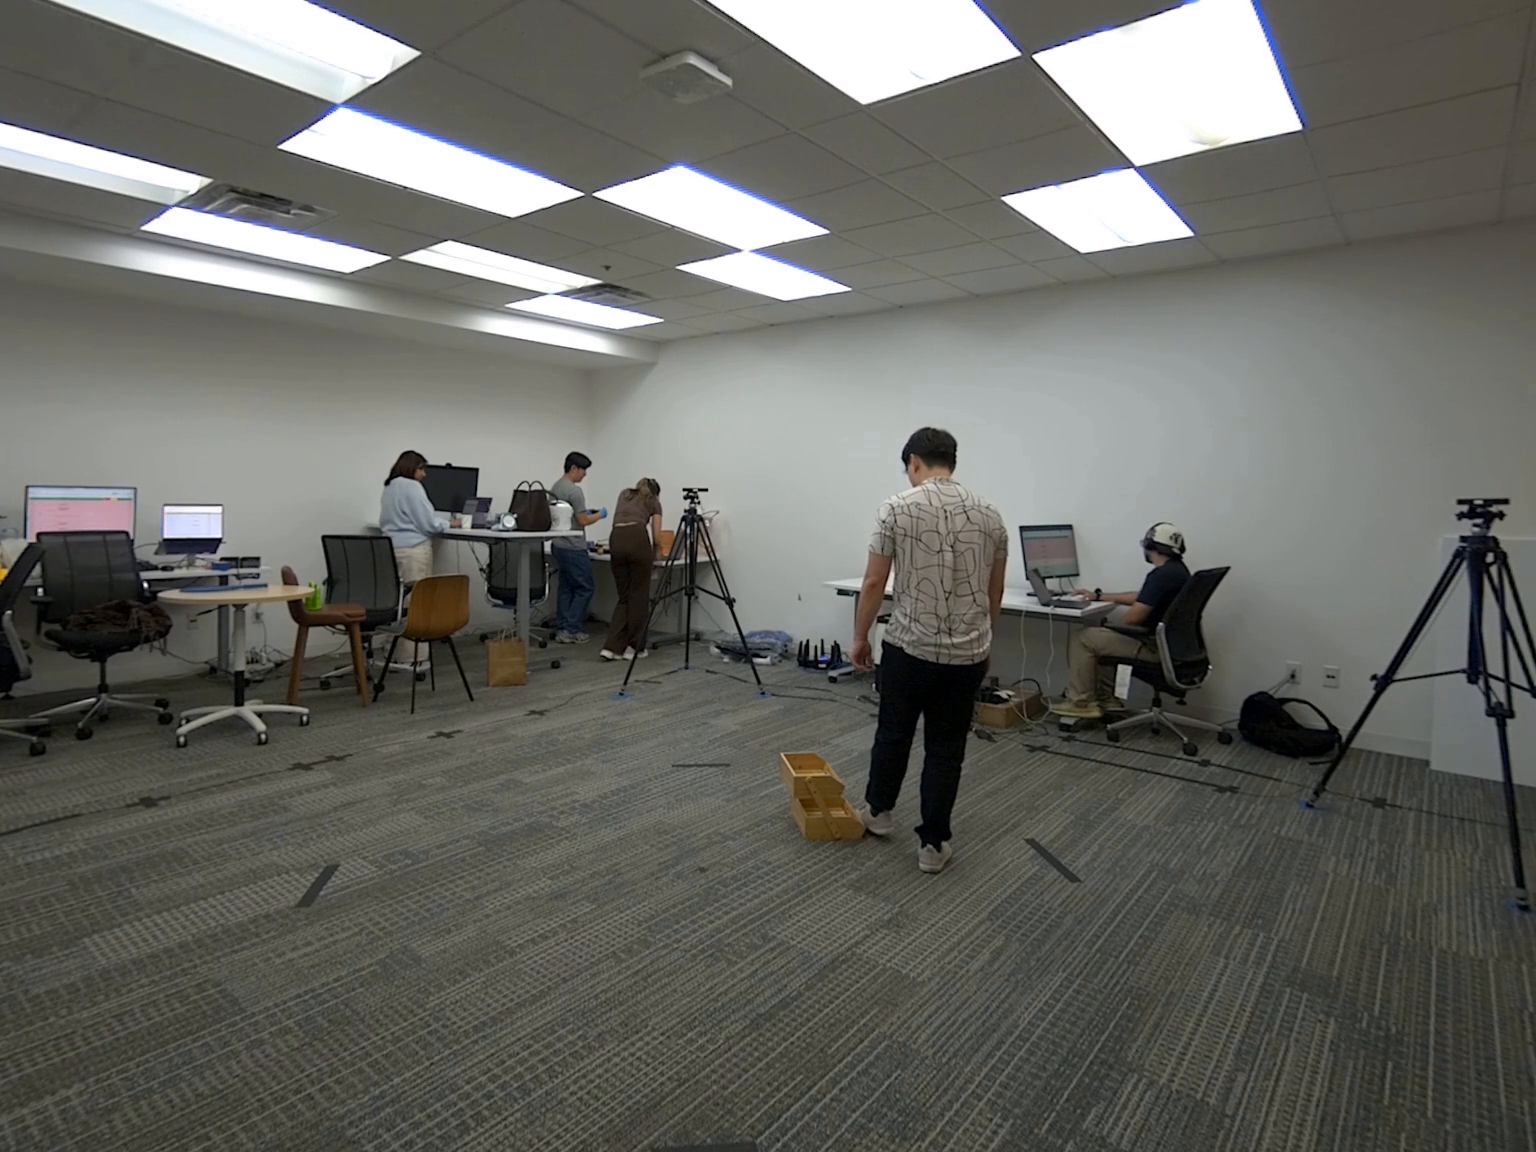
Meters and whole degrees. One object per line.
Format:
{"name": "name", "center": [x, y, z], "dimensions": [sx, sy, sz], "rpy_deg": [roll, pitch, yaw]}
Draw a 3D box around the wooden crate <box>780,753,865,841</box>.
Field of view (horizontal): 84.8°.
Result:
{"name": "wooden crate", "center": [0.218, 0.903, 3.552], "dimensions": [0.299, 0.272, 0.329], "rpy_deg": [0, 5, -10]}
